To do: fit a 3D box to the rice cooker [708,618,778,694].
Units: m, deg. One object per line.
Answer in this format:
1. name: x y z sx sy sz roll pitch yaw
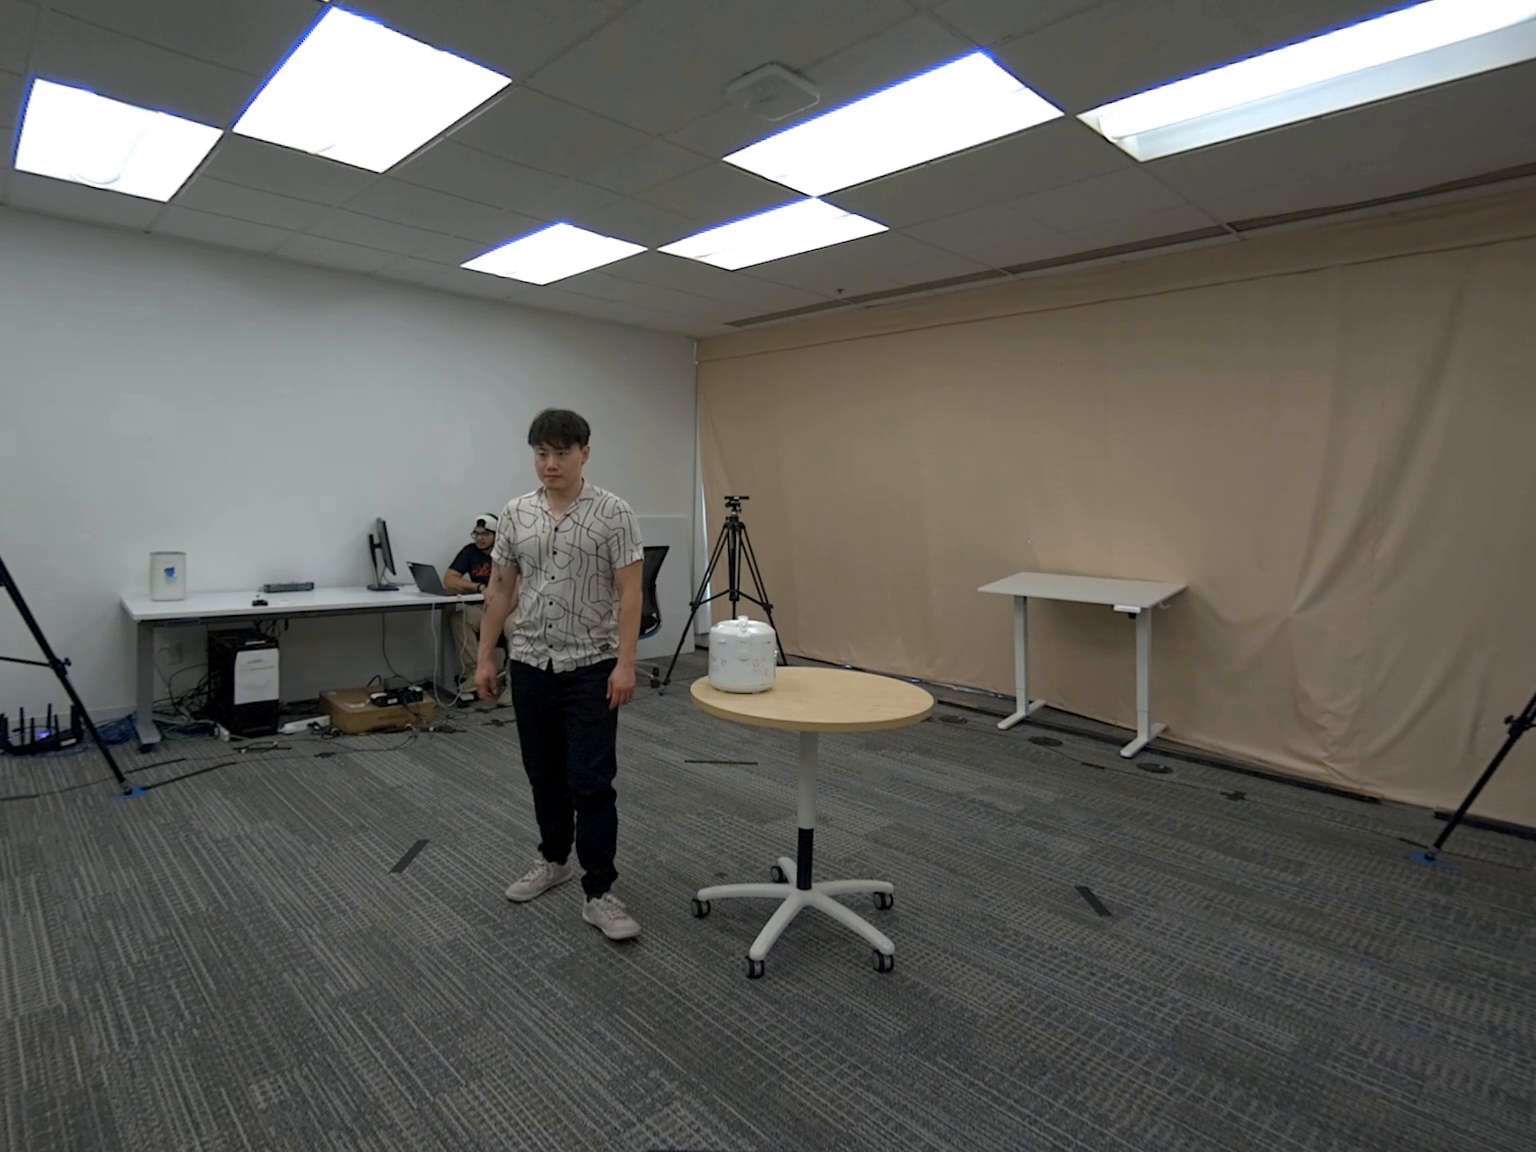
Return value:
1. rice cooker: -0.087 0.242 2.685 0.217 0.232 0.221 2 4 -1
